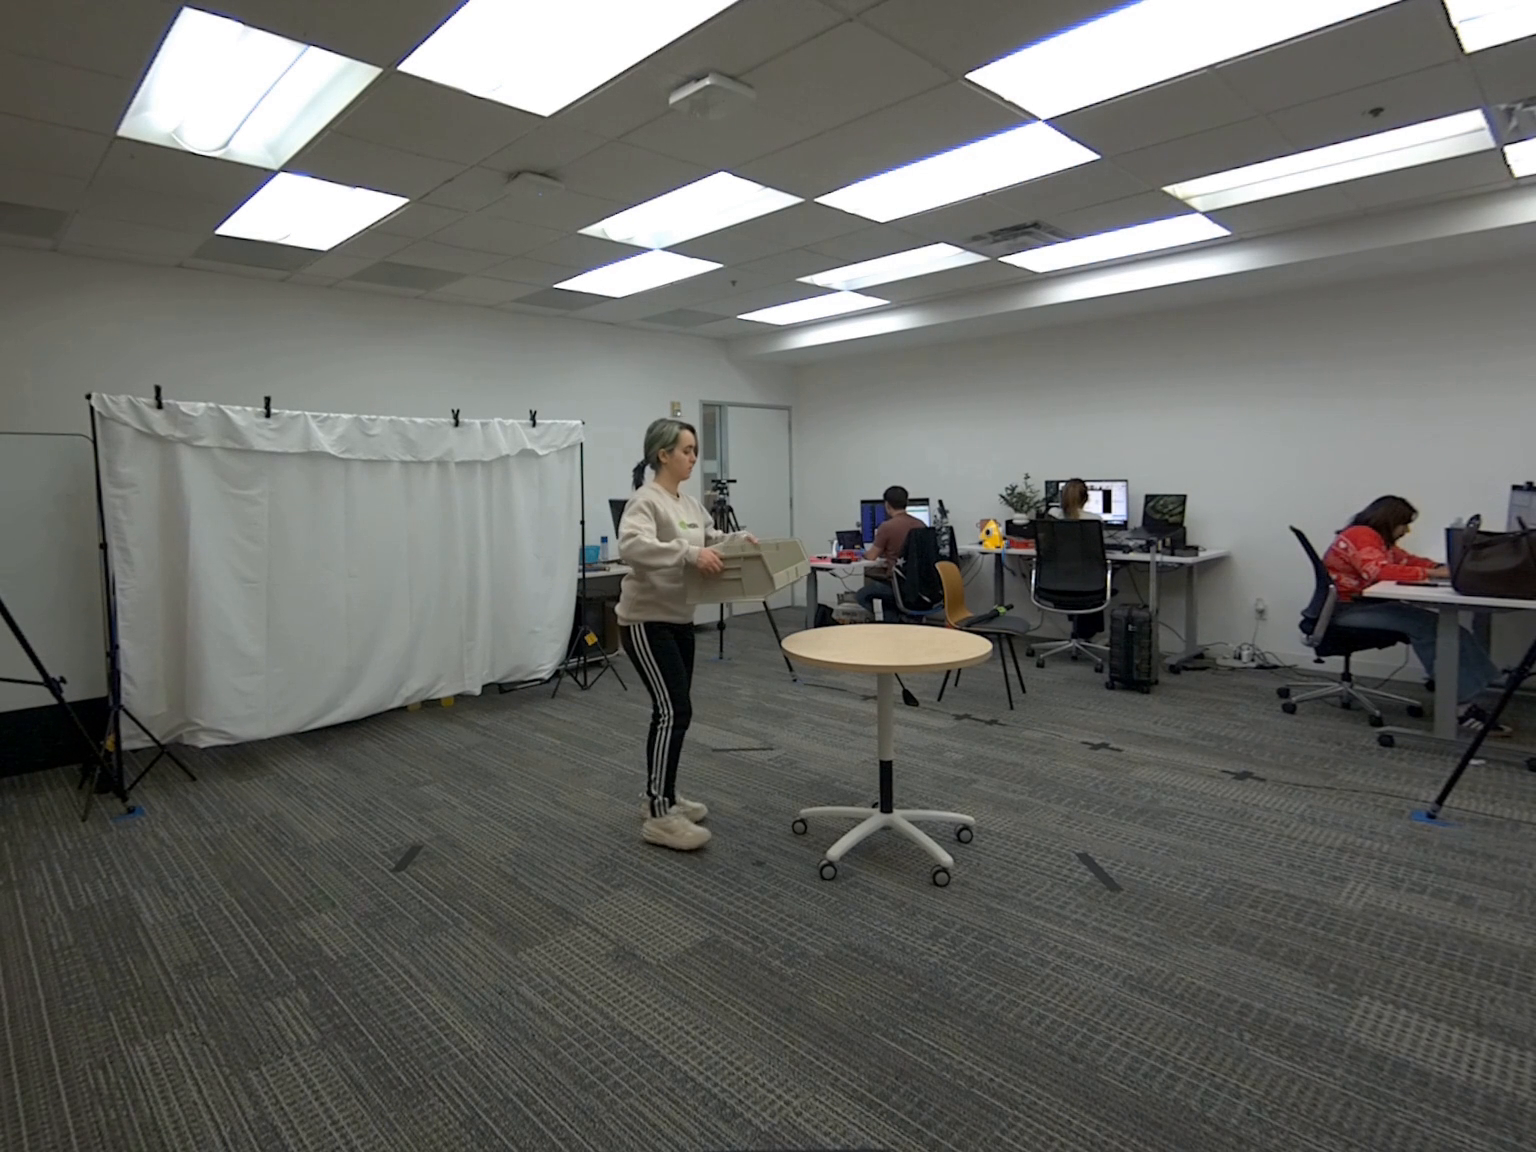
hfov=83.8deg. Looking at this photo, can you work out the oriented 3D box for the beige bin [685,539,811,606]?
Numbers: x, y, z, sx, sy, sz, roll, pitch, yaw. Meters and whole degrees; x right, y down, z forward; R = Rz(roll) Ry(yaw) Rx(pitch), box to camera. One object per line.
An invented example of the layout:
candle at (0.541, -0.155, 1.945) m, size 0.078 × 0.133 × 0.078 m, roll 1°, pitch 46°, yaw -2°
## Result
beige bin at (-0.079, -0.026, 3.275) m, size 0.384 × 0.188 × 0.418 m, roll -5°, pitch 9°, yaw 21°
